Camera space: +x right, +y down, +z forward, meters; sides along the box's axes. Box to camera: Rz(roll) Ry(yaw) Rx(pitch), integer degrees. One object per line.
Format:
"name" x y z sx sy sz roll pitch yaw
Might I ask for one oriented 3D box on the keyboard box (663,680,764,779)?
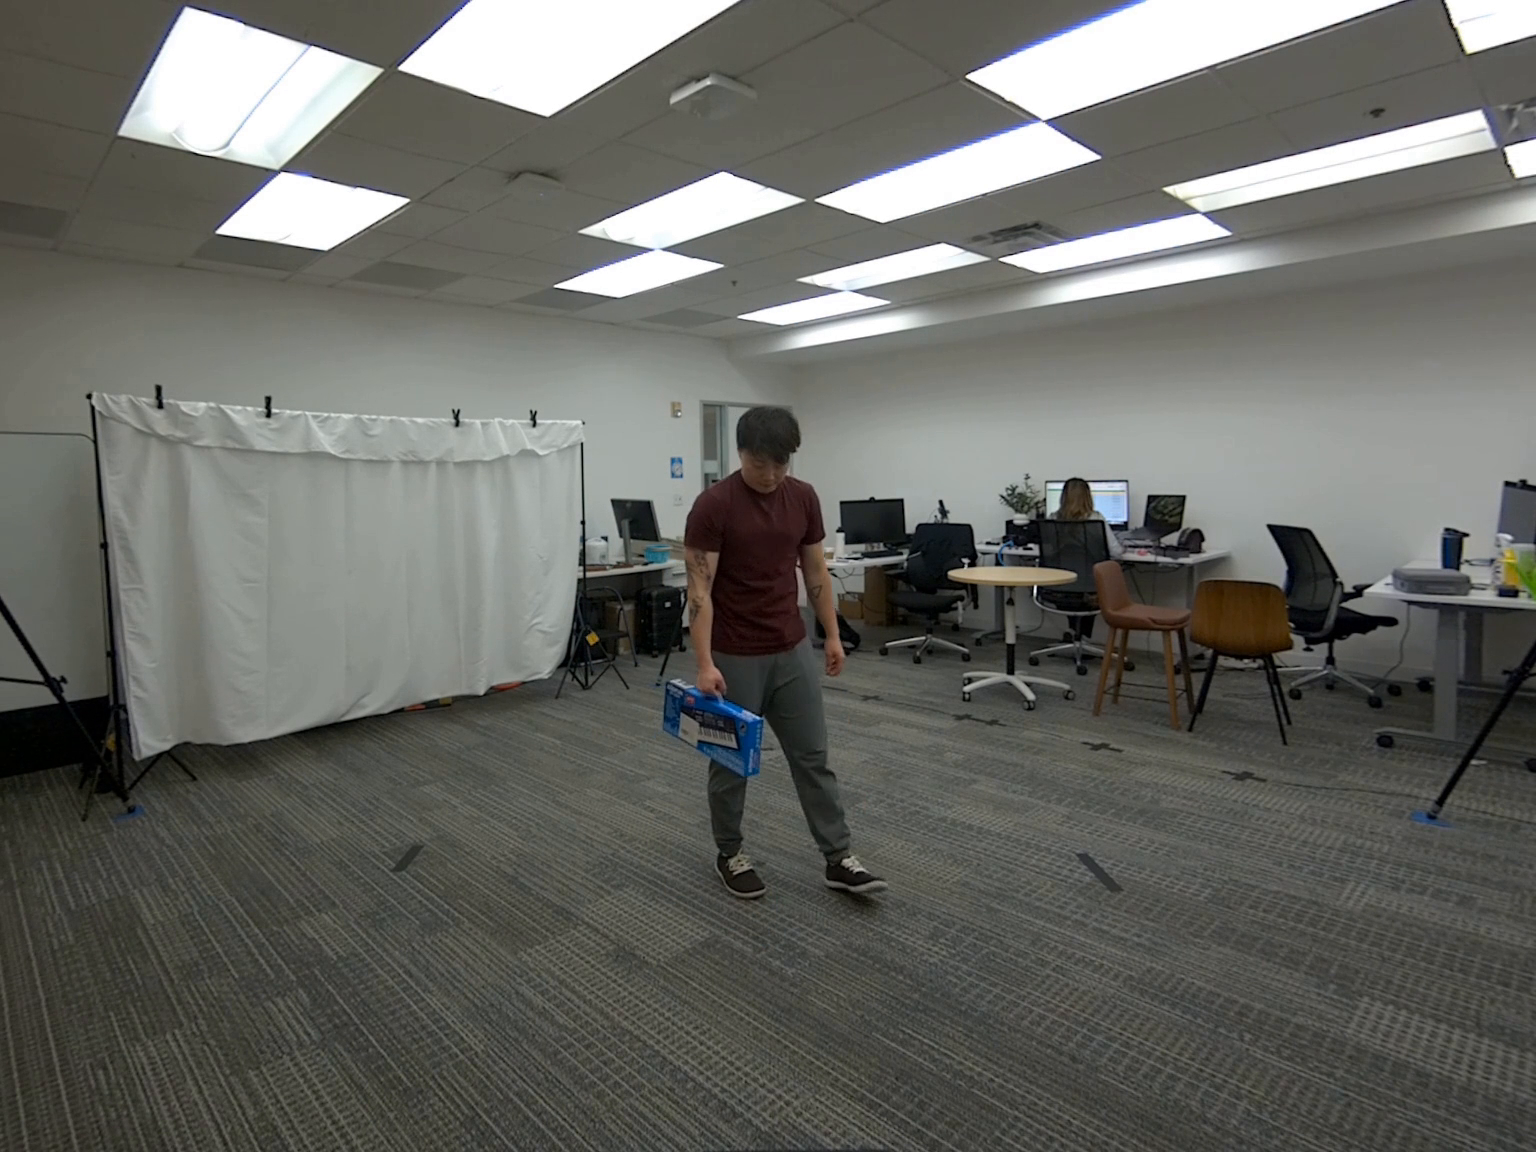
"keyboard box" -0.178 0.469 2.696 0.057 0.175 0.452 0 10 -39
